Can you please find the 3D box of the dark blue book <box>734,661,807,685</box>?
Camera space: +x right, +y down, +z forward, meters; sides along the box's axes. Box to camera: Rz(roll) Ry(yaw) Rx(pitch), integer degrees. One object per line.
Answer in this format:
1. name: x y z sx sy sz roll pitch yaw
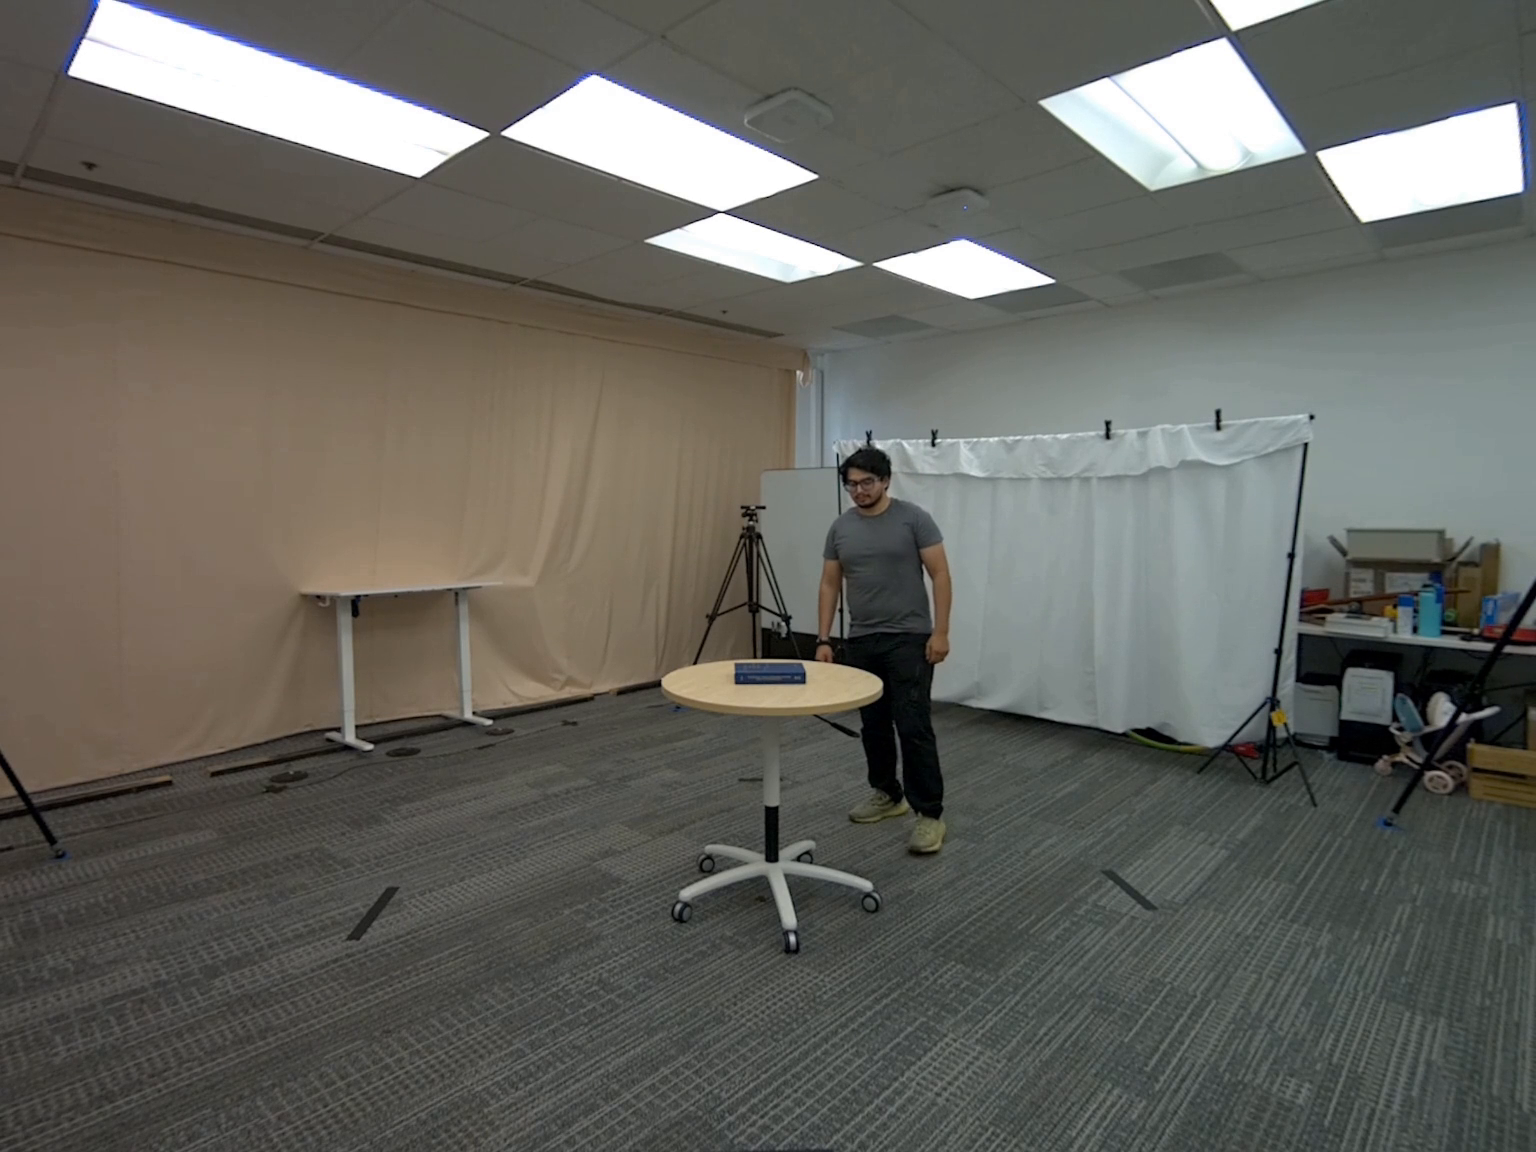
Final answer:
1. dark blue book: 0.006 0.343 2.946 0.245 0.045 0.164 0 4 0
